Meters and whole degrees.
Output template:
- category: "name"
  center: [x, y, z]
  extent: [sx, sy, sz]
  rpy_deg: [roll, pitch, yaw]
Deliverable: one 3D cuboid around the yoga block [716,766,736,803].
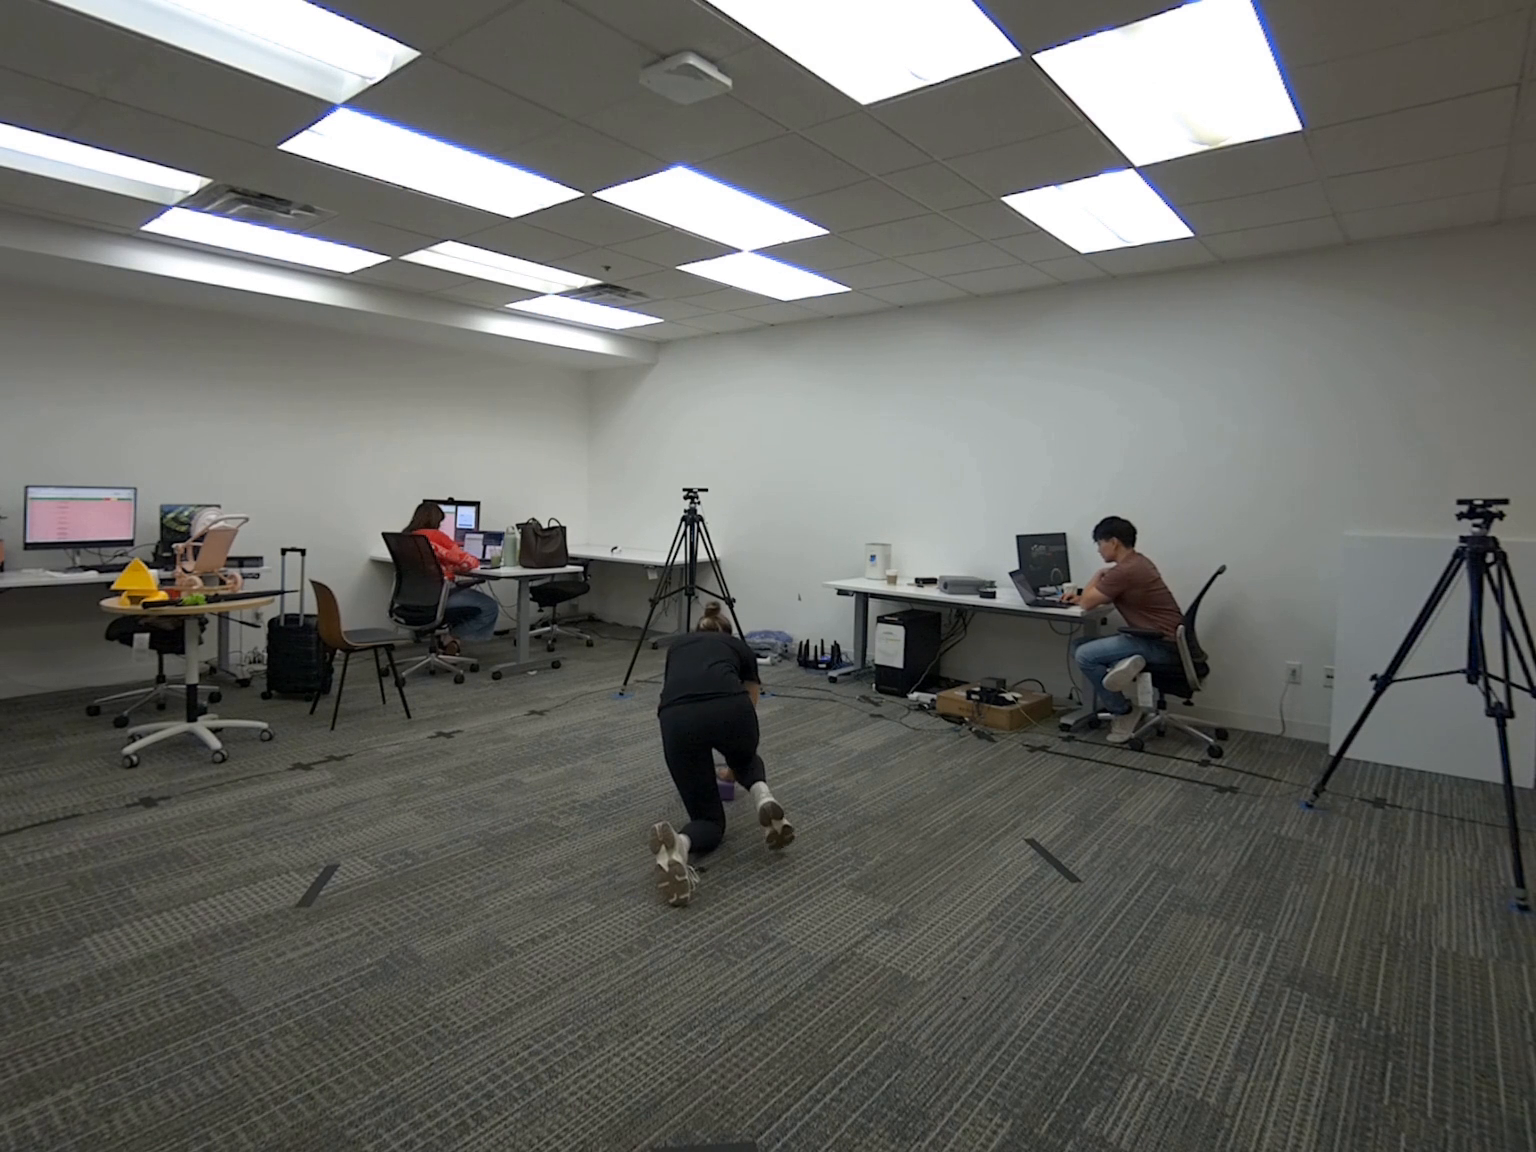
- category: "yoga block"
  center: [-0.282, 0.955, 3.867]
  extent: [0.228, 0.076, 0.150]
  rpy_deg: [0, 0, -6]
